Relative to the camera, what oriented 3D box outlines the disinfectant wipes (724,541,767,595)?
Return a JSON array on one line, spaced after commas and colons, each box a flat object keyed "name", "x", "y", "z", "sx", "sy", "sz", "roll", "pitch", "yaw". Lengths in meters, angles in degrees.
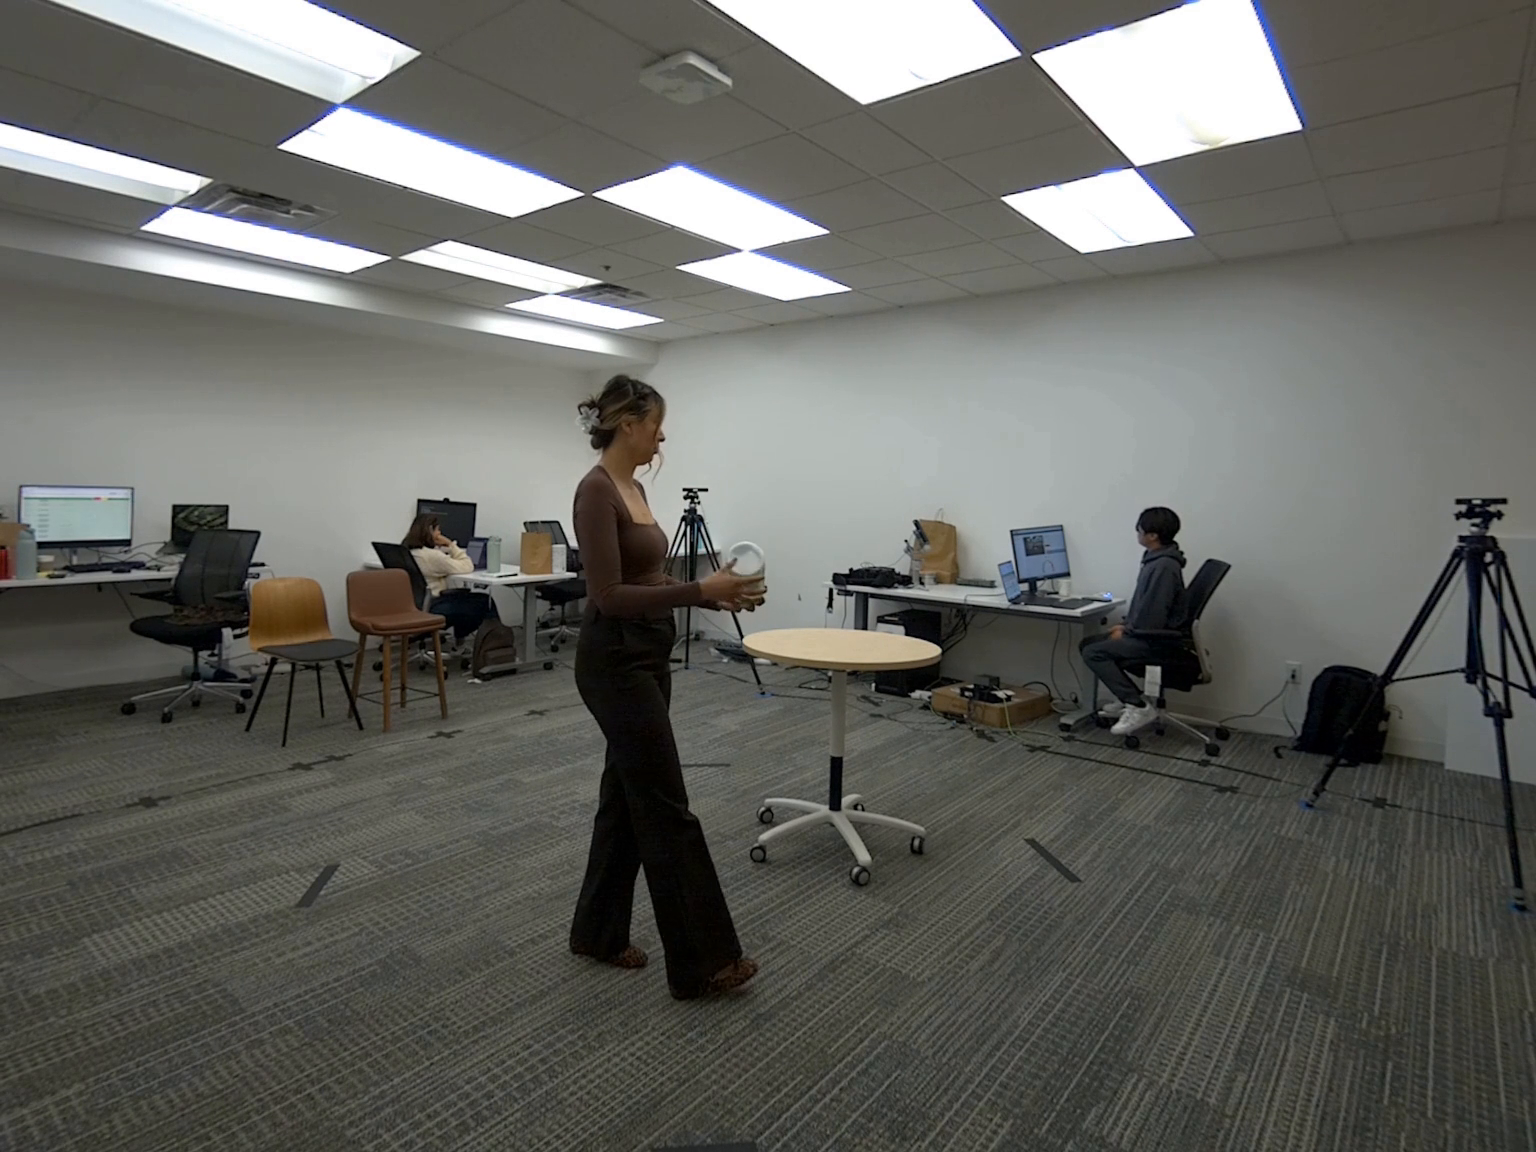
[{"name": "disinfectant wipes", "x": -0.077, "y": -0.003, "z": 2.418, "sx": 0.118, "sy": 0.120, "sz": 0.212, "roll": 1, "pitch": -28, "yaw": 1}]
